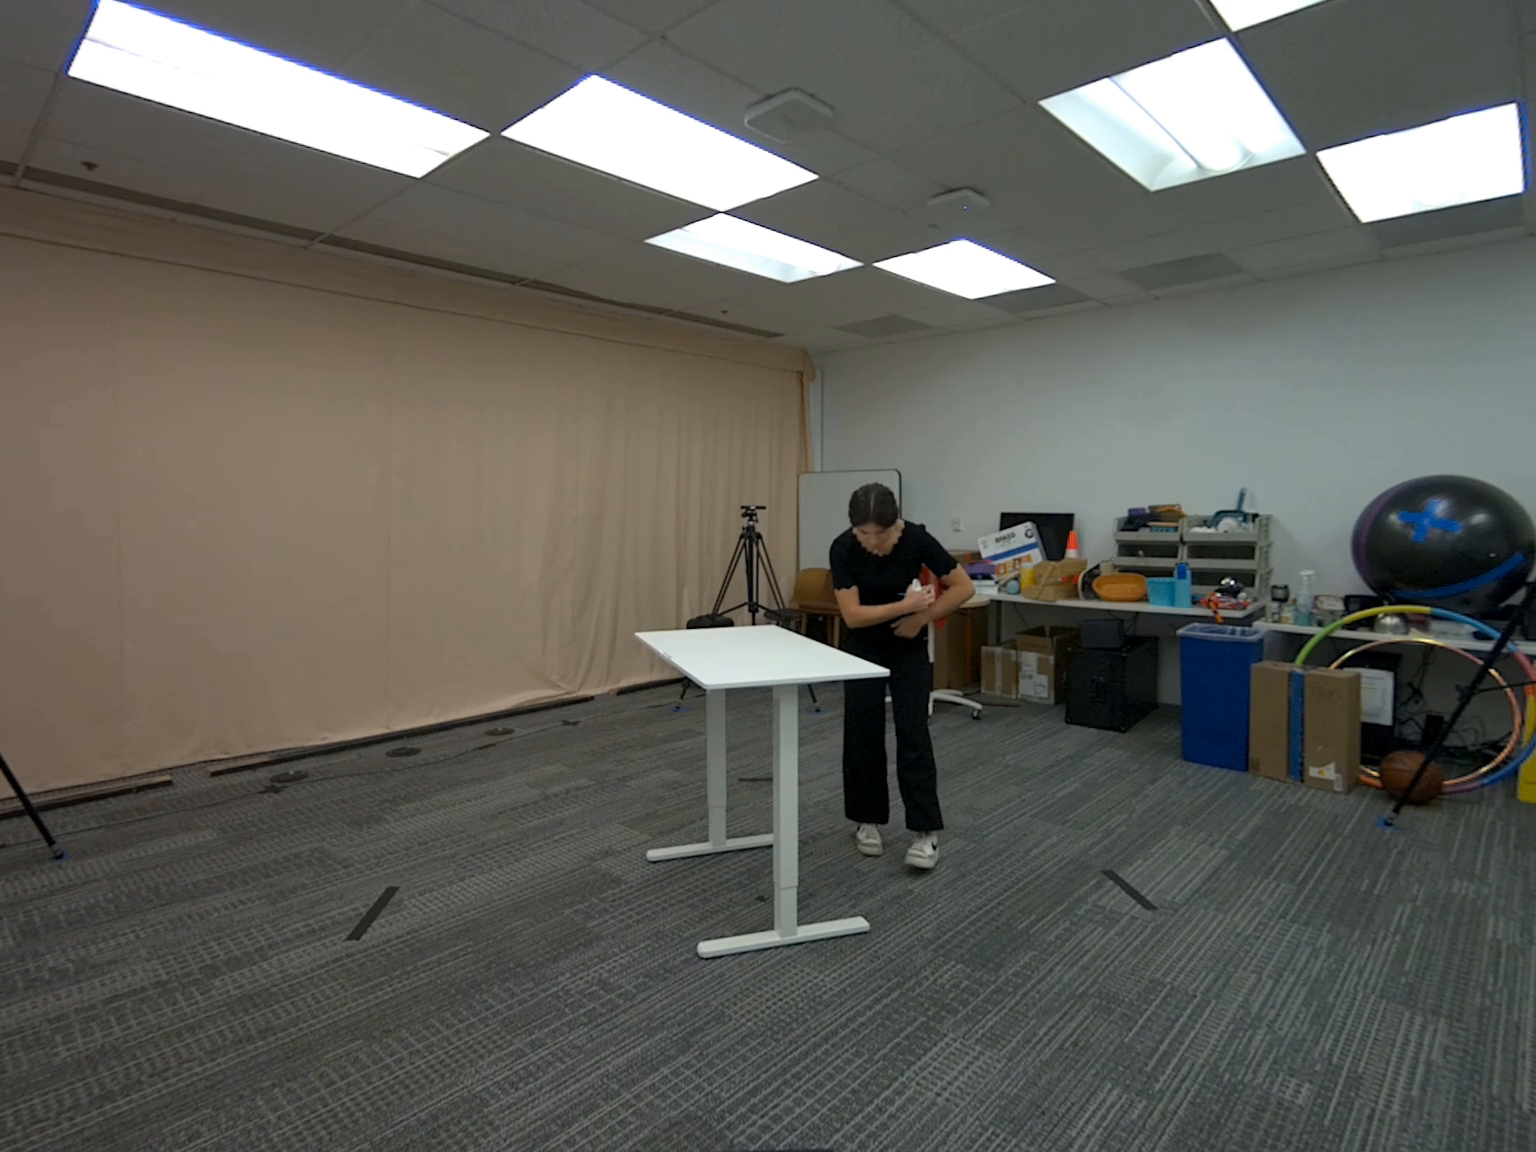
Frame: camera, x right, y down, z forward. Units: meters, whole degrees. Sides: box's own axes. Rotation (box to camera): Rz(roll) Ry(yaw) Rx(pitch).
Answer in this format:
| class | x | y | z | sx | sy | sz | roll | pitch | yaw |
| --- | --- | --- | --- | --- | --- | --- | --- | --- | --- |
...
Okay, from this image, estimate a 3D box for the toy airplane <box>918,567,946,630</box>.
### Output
| class | x | y | z | sx | sy | sz | roll | pitch | yaw |
| --- | --- | --- | --- | --- | --- | --- | --- | --- | --- |
| toy airplane | 0.655 | 0.062 | 3.317 | 0.251 | 0.251 | 0.161 | 38 | -23 | -31 |
